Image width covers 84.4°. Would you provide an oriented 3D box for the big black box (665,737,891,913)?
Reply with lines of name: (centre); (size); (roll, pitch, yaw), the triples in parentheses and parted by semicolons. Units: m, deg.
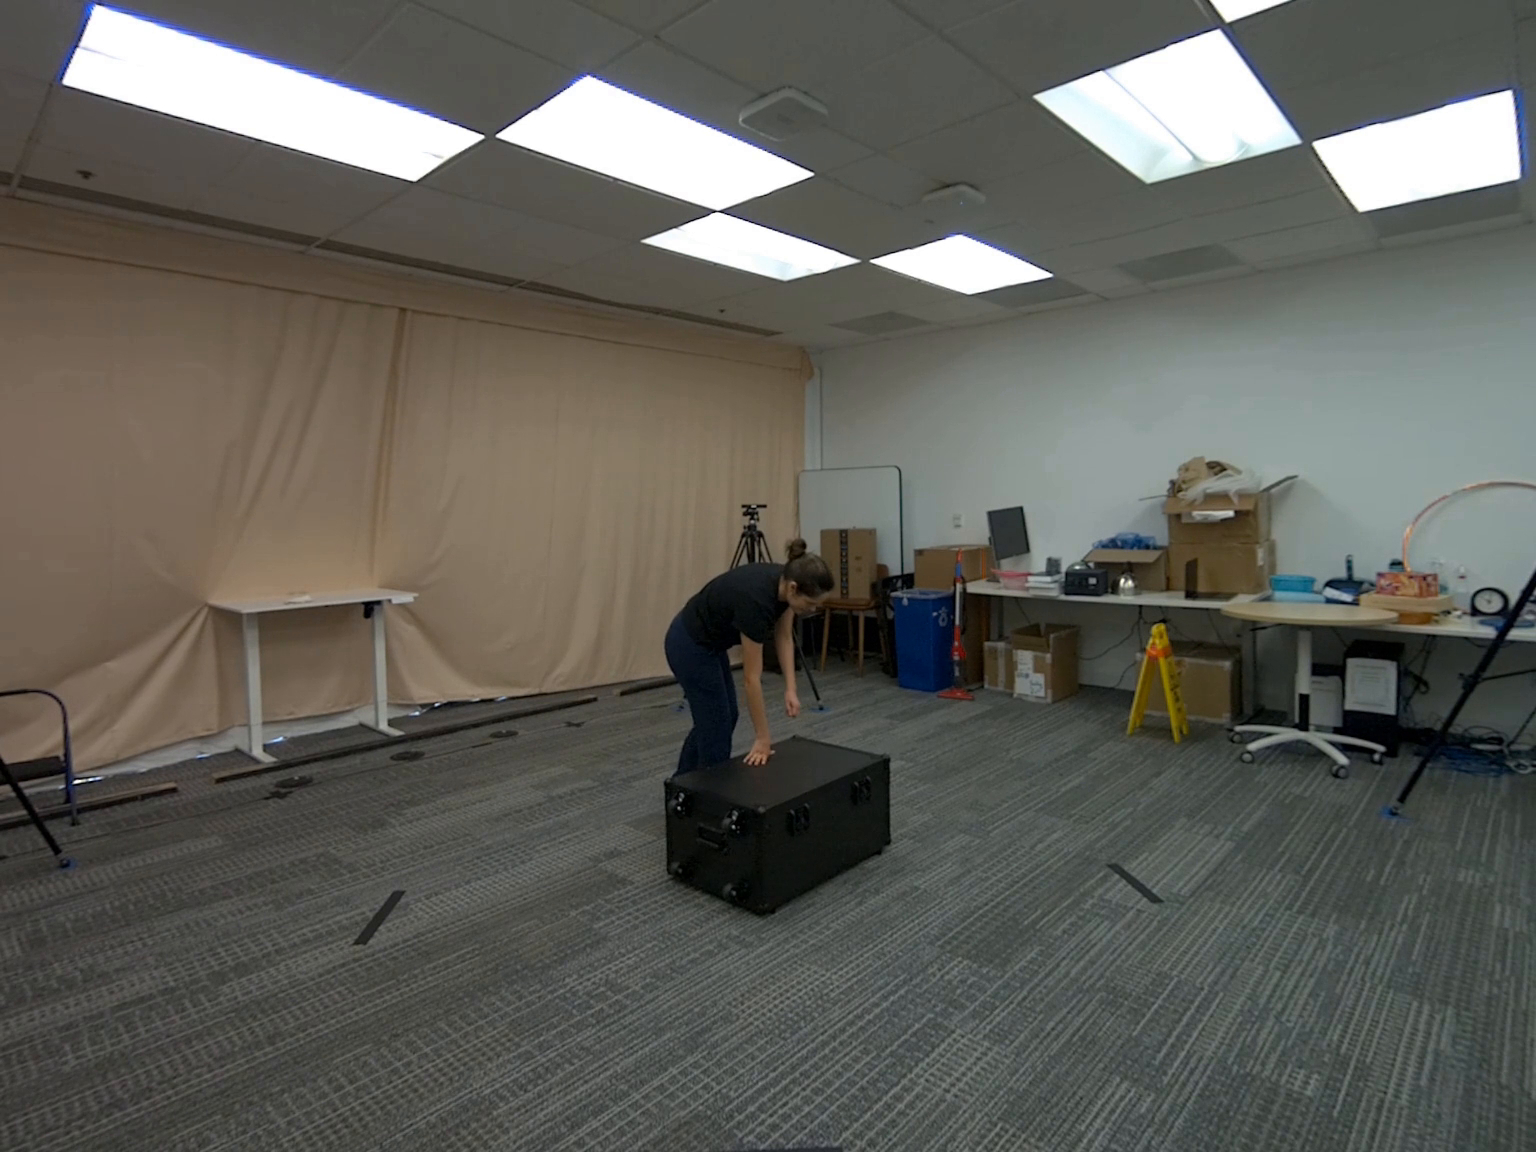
big black box: (0.051, 0.912, 3.219); (0.538, 0.395, 0.836); (3, 7, 42)
